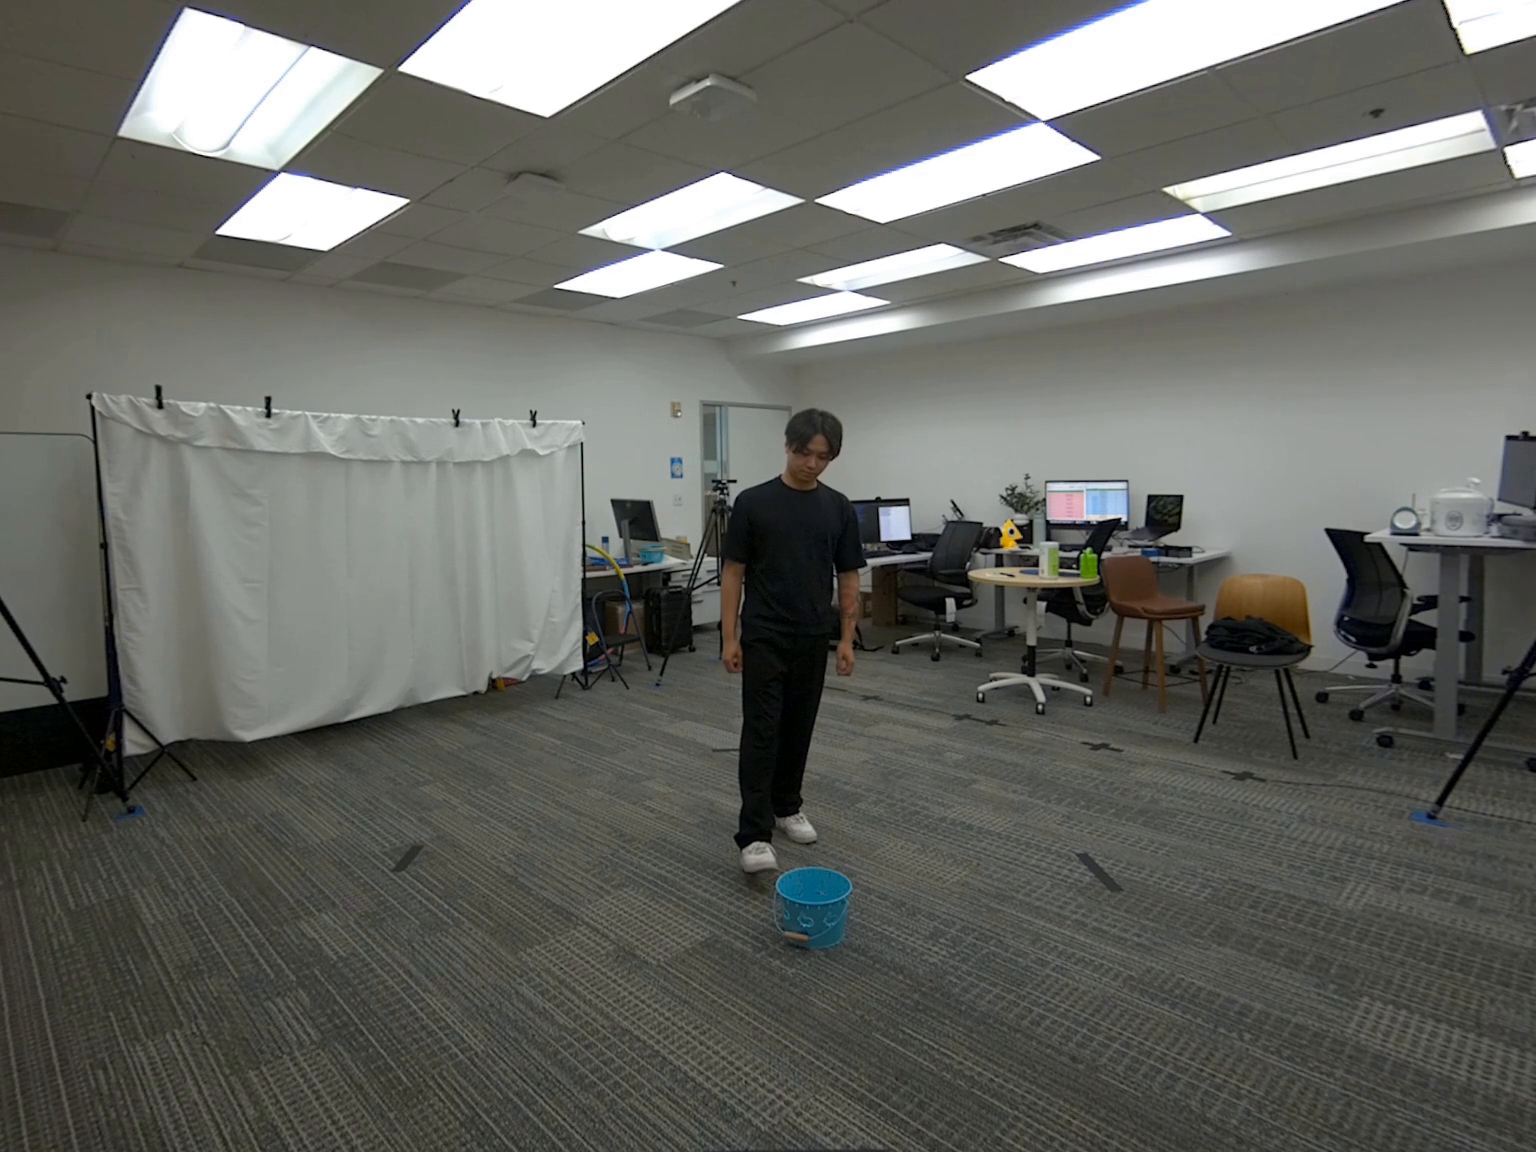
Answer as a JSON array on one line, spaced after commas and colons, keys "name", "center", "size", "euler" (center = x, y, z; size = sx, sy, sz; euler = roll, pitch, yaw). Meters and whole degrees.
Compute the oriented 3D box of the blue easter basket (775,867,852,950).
[{"name": "blue easter basket", "center": [0.140, 1.020, 2.626], "size": [0.243, 0.155, 0.245], "euler": [-1, 6, -2]}]
